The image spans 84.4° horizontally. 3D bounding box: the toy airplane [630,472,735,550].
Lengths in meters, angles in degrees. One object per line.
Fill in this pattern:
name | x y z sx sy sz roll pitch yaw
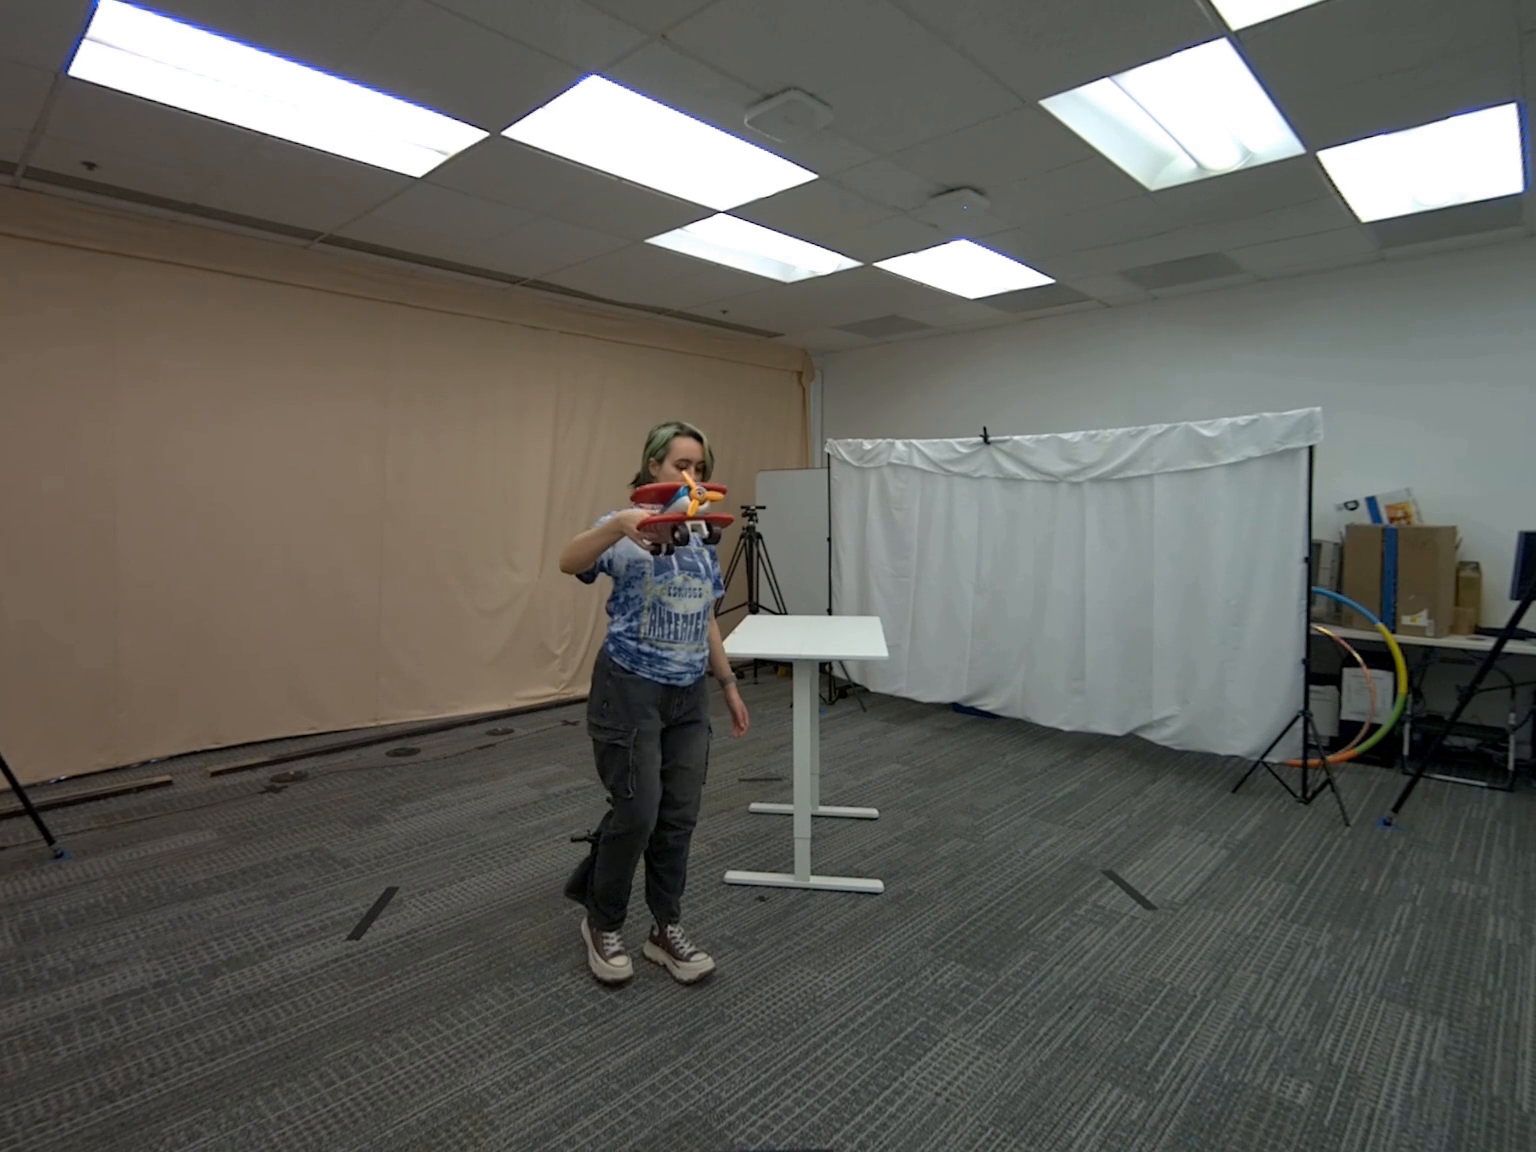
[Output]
toy airplane | -0.233 -0.135 2.047 0.266 0.157 0.244 -7 -4 28
